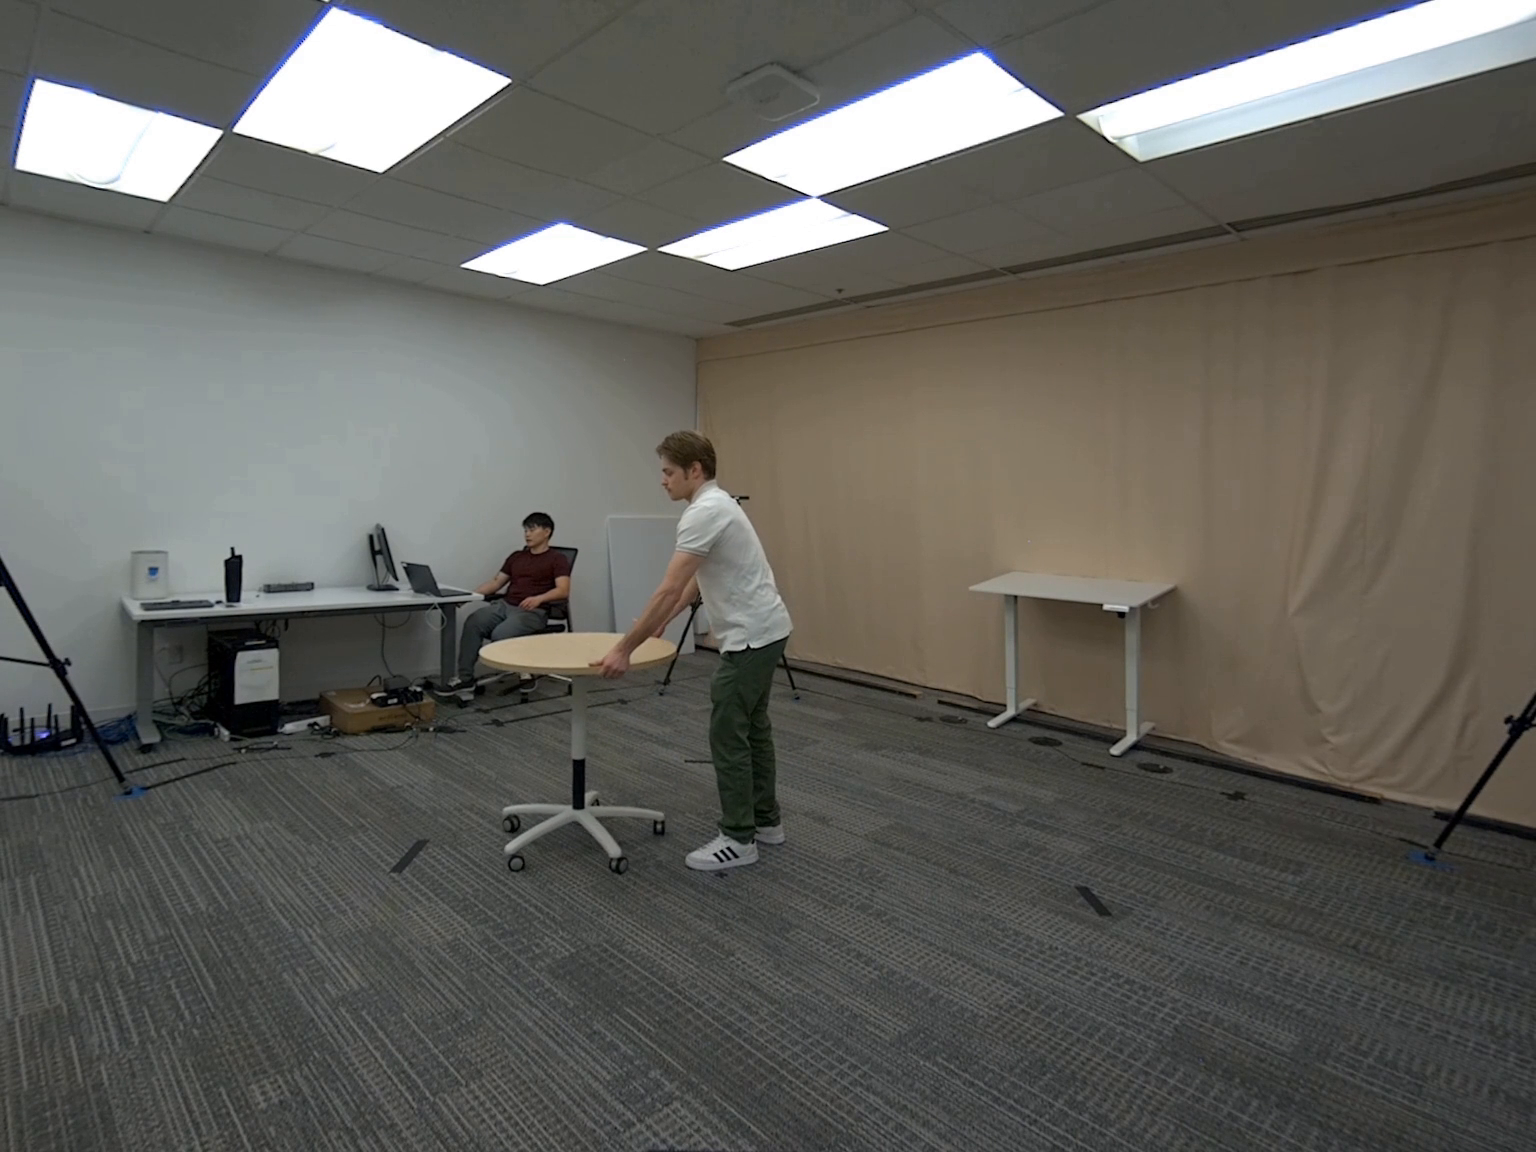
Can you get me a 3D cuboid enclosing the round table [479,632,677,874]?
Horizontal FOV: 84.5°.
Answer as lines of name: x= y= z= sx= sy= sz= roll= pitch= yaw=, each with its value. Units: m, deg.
round table: x=-0.754 y=0.678 z=3.343 sx=0.763 sy=0.792 sz=0.766 roll=1 pitch=4 yaw=-1
